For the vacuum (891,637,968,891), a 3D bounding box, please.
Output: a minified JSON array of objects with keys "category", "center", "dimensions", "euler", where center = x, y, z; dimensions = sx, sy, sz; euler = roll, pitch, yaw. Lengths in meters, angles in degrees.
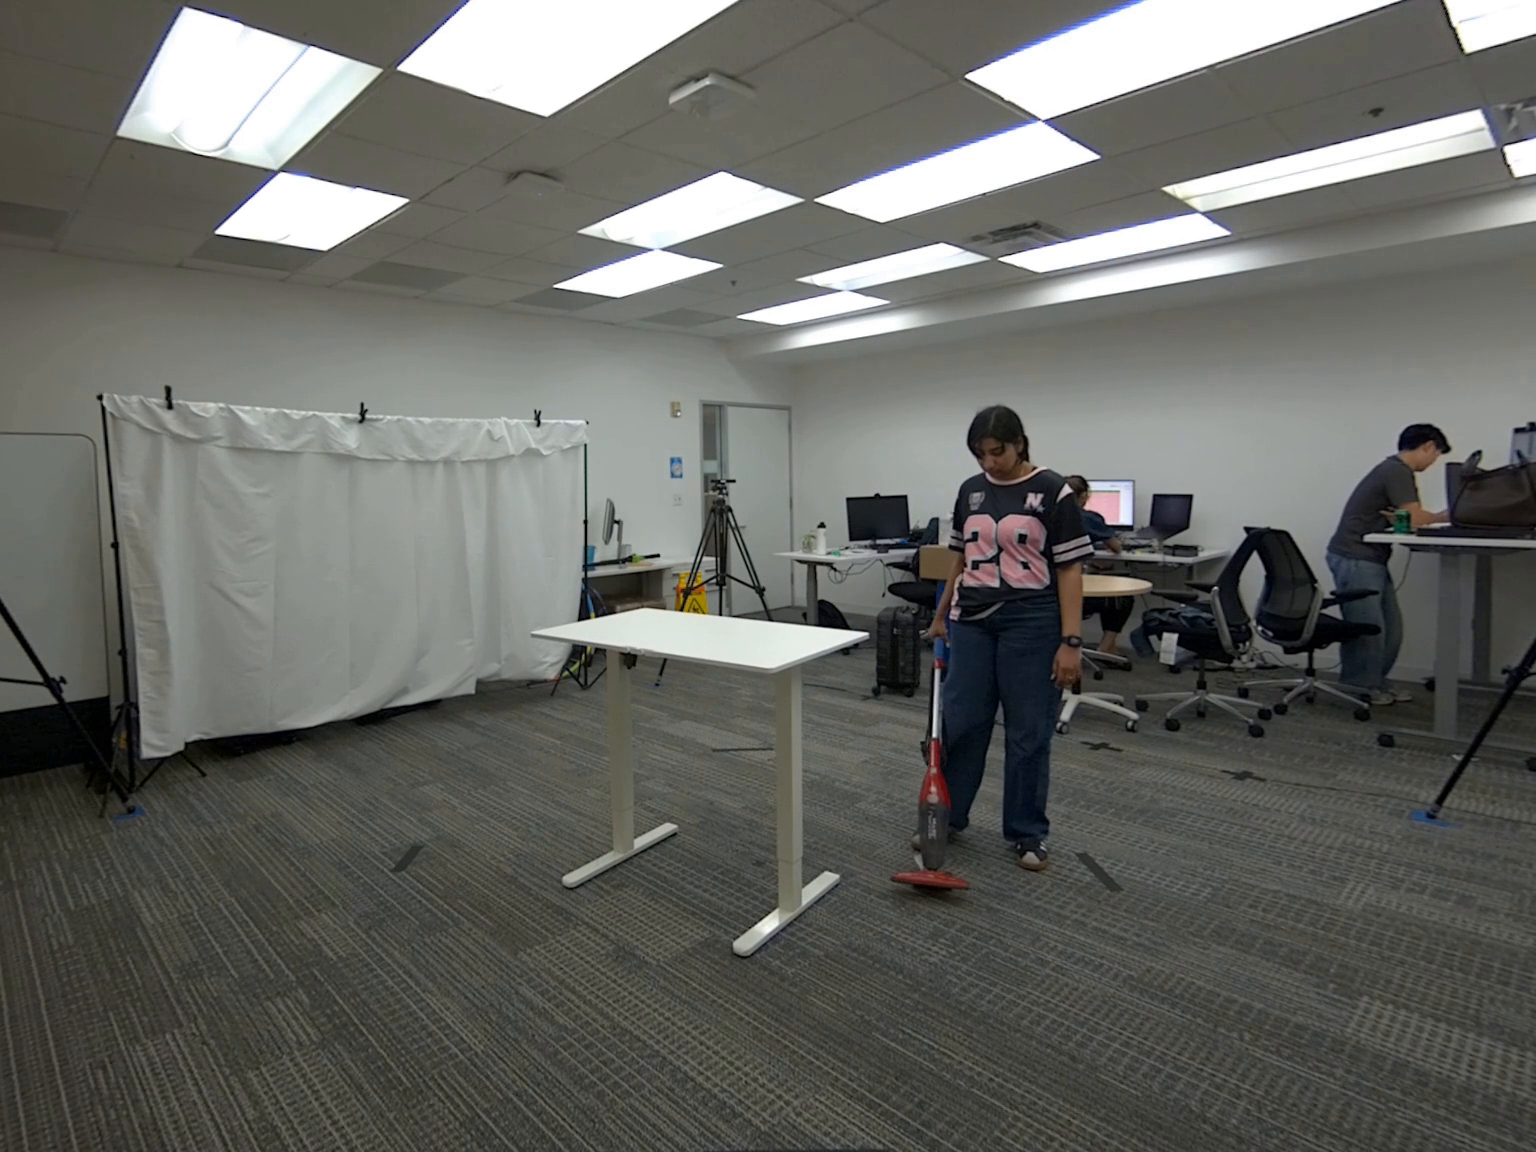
[{"category":"vacuum","center":[0.629,0.637,3.171],"dimensions":[0.256,1.070,0.139],"euler":[-1,-41,15]}]
